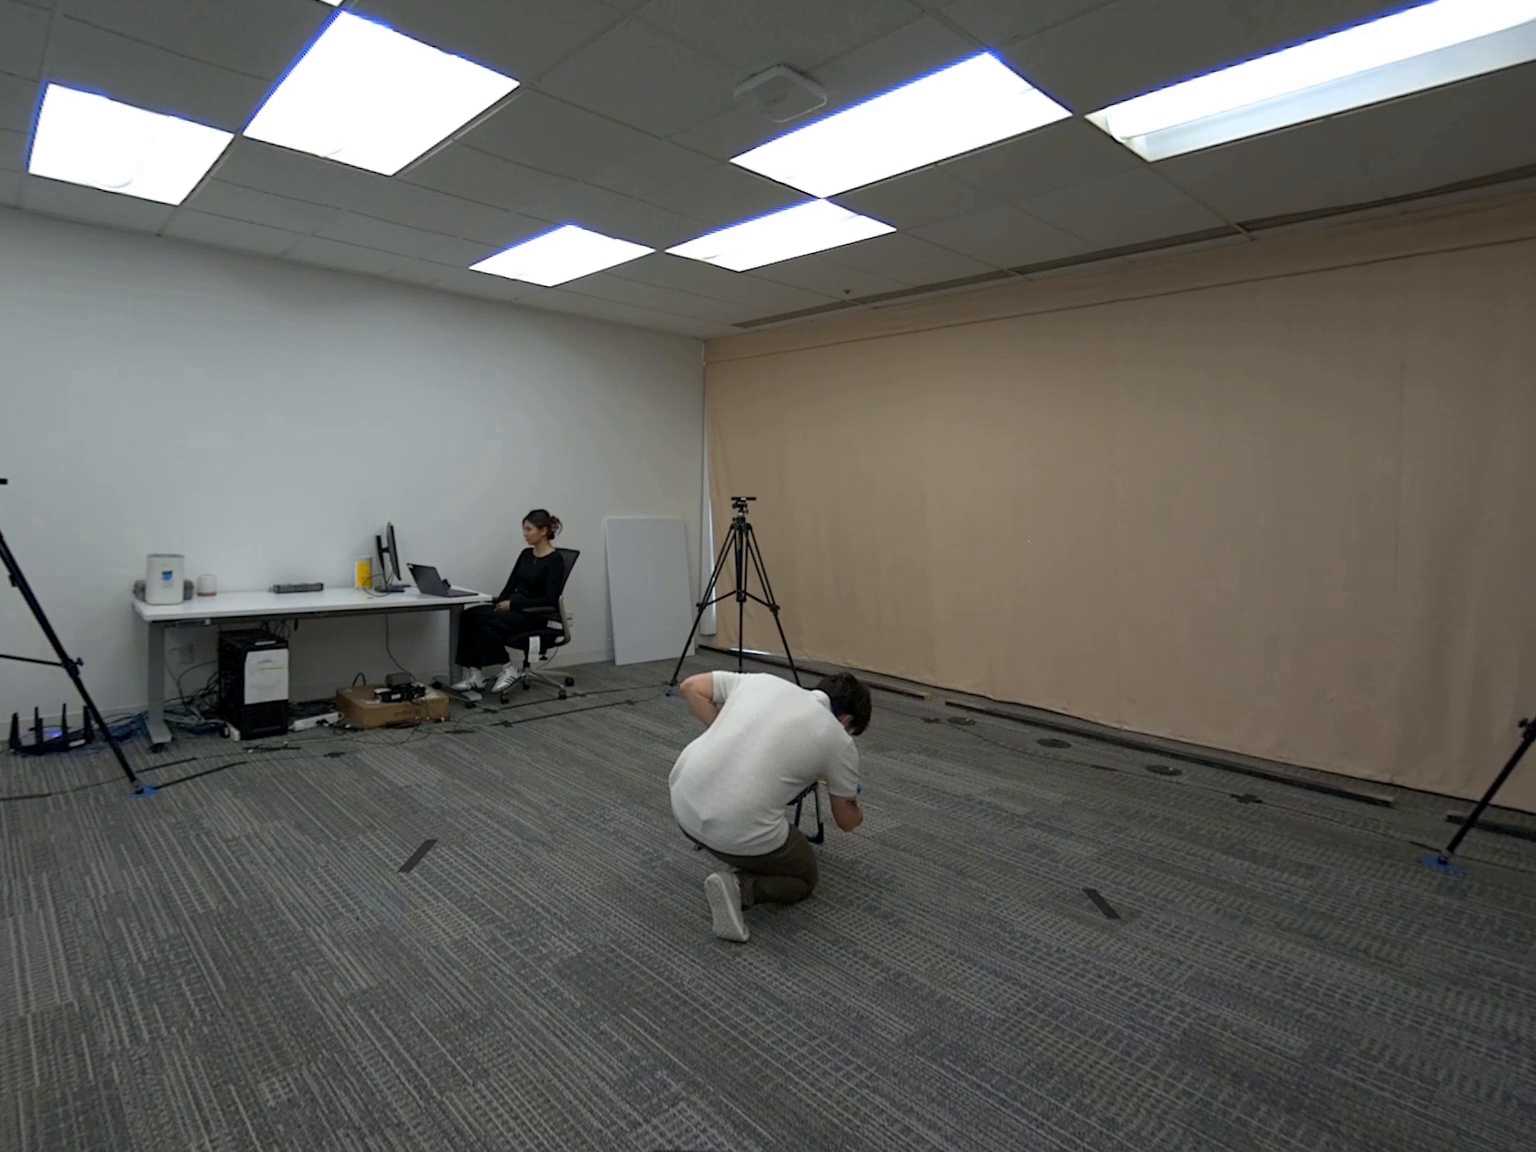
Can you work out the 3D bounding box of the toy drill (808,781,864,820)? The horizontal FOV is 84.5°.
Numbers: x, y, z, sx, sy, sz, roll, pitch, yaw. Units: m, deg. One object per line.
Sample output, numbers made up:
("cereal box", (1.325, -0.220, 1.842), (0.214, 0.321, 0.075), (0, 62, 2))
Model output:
("toy drill", (0.262, 0.853, 3.258), (0.173, 0.059, 0.147), (0, 46, 28))
